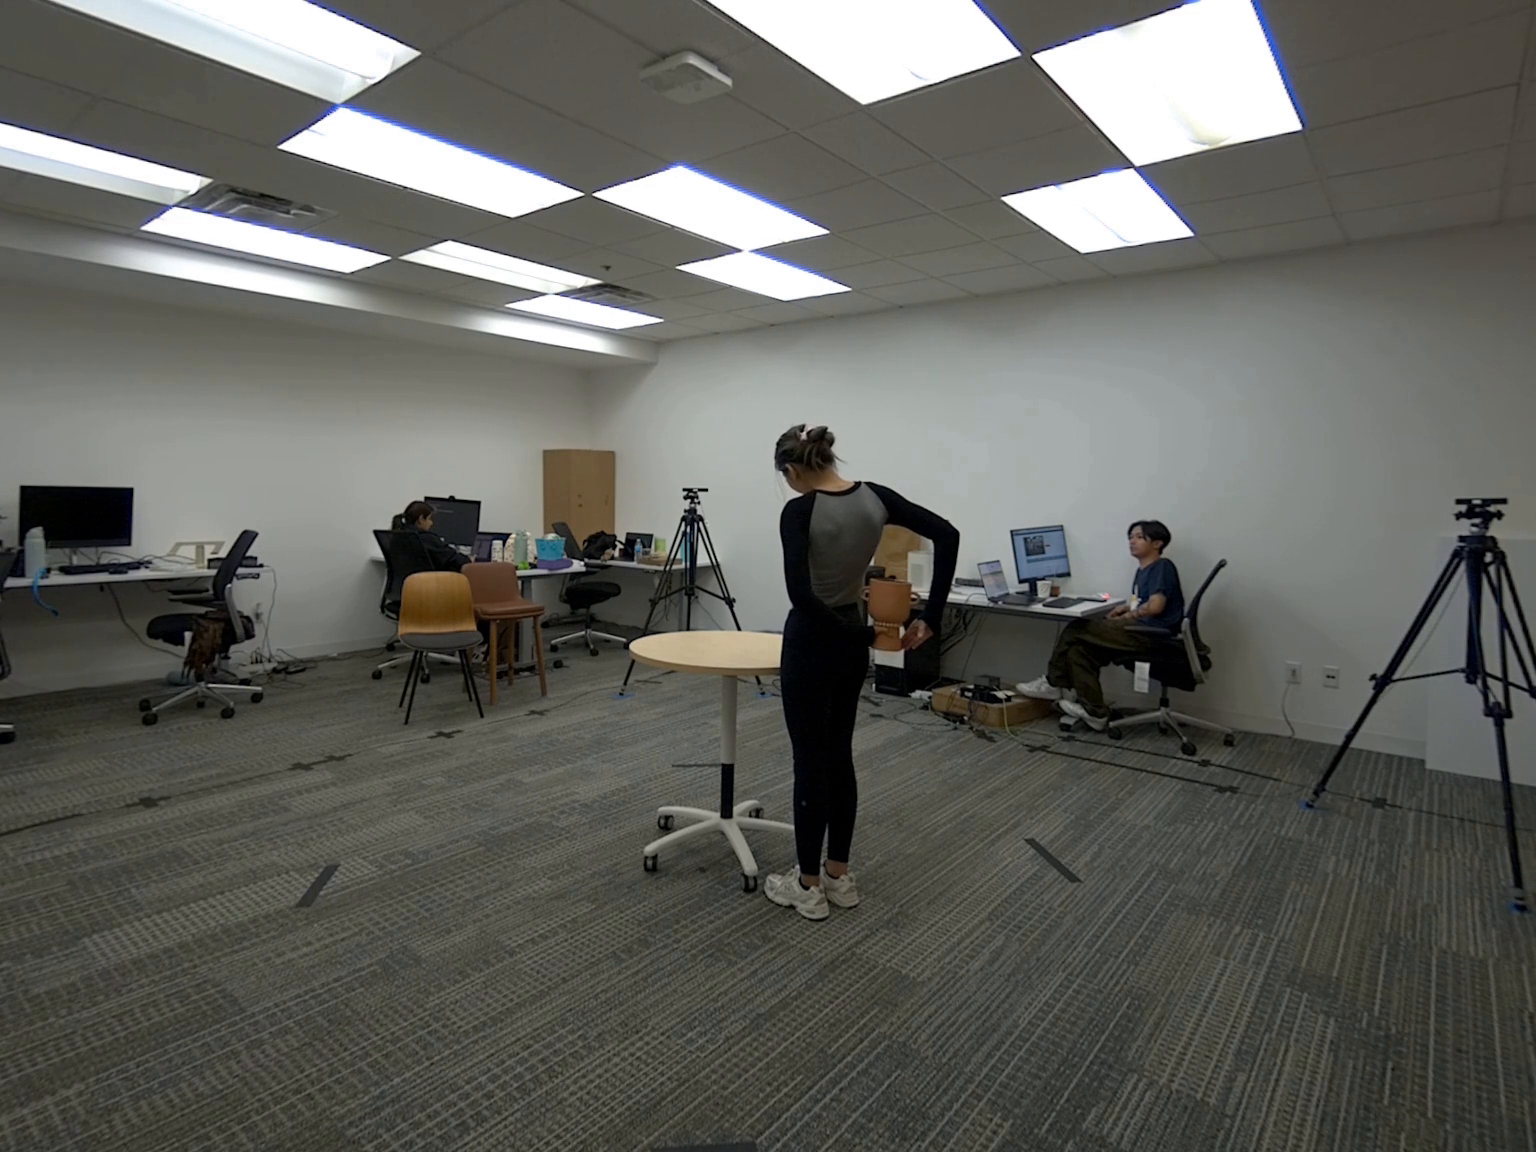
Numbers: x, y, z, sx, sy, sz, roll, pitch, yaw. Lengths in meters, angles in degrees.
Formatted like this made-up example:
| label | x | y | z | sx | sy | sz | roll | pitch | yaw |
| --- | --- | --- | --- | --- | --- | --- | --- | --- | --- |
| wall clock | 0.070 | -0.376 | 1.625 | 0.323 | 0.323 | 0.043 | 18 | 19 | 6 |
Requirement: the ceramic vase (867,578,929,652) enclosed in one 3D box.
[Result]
| label | x | y | z | sx | sy | sz | roll | pitch | yaw |
| --- | --- | --- | --- | --- | --- | --- | --- | --- | --- |
| ceramic vase | 0.380 | 0.123 | 2.722 | 0.164 | 0.219 | 0.131 | 9 | 7 | 35 |
